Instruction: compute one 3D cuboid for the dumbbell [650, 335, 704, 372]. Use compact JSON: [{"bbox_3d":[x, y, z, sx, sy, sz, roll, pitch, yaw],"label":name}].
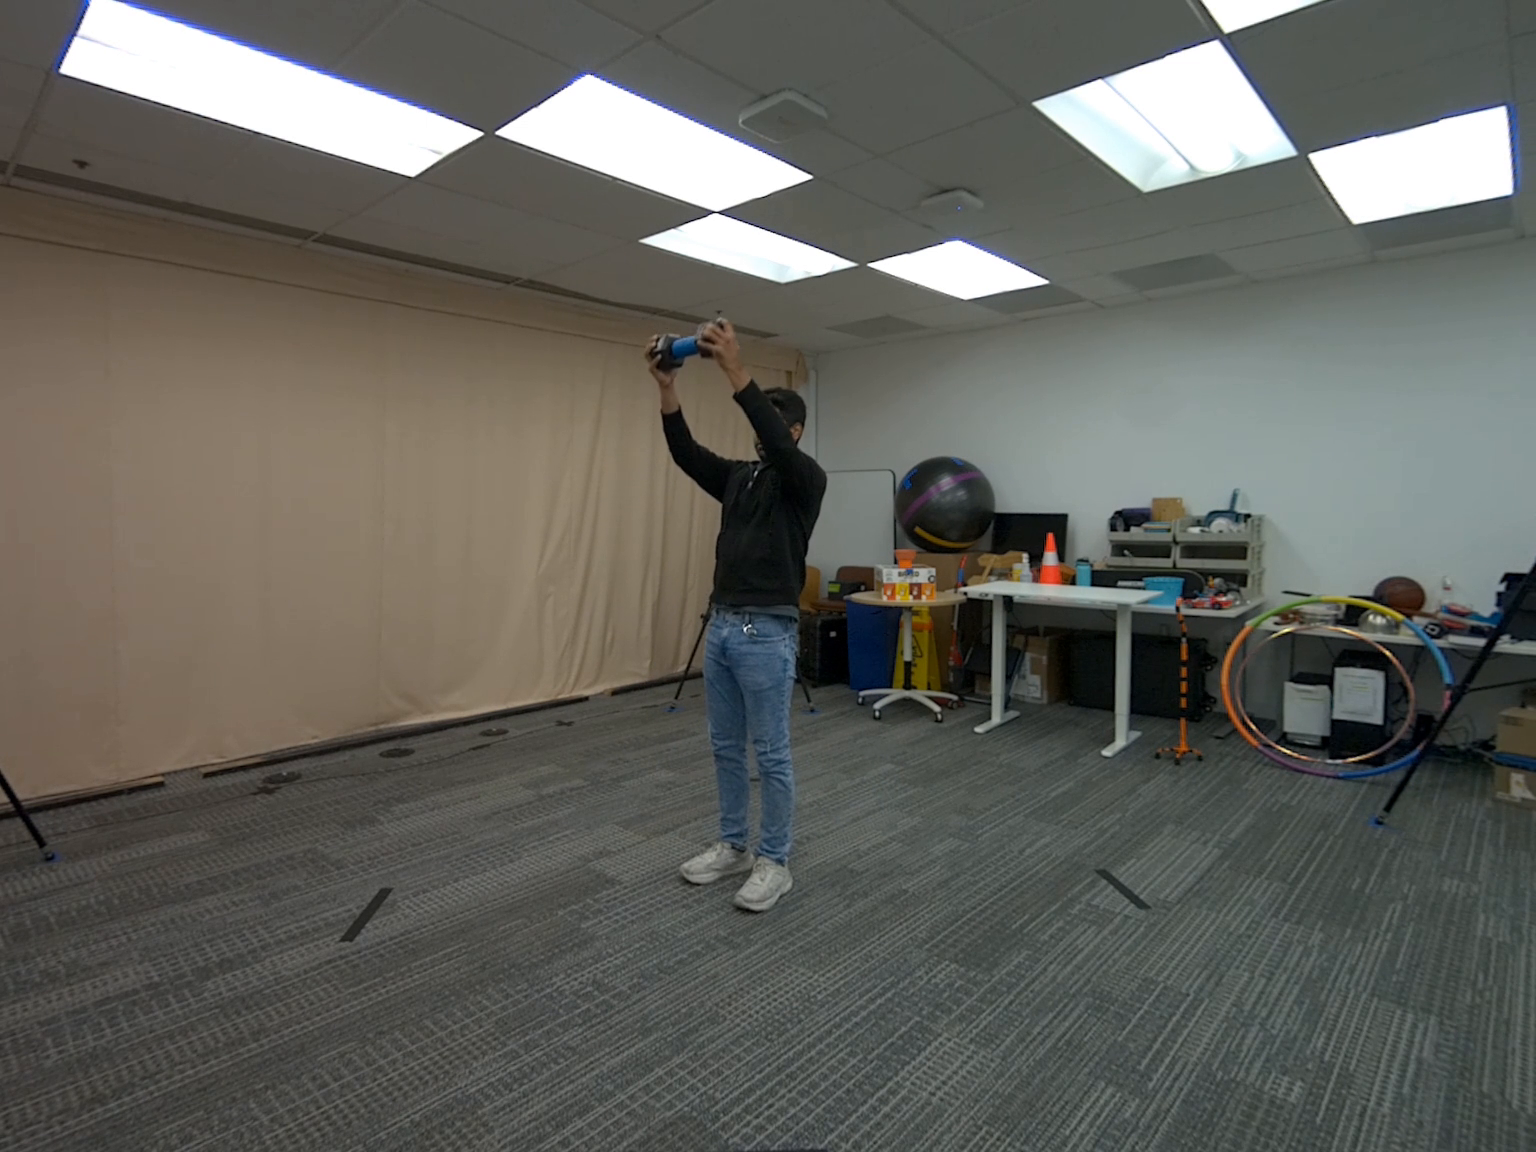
[{"bbox_3d":[-0.250,-0.749,2.766,0.303,0.123,0.105,0,-26,43],"label":"dumbbell"}]
